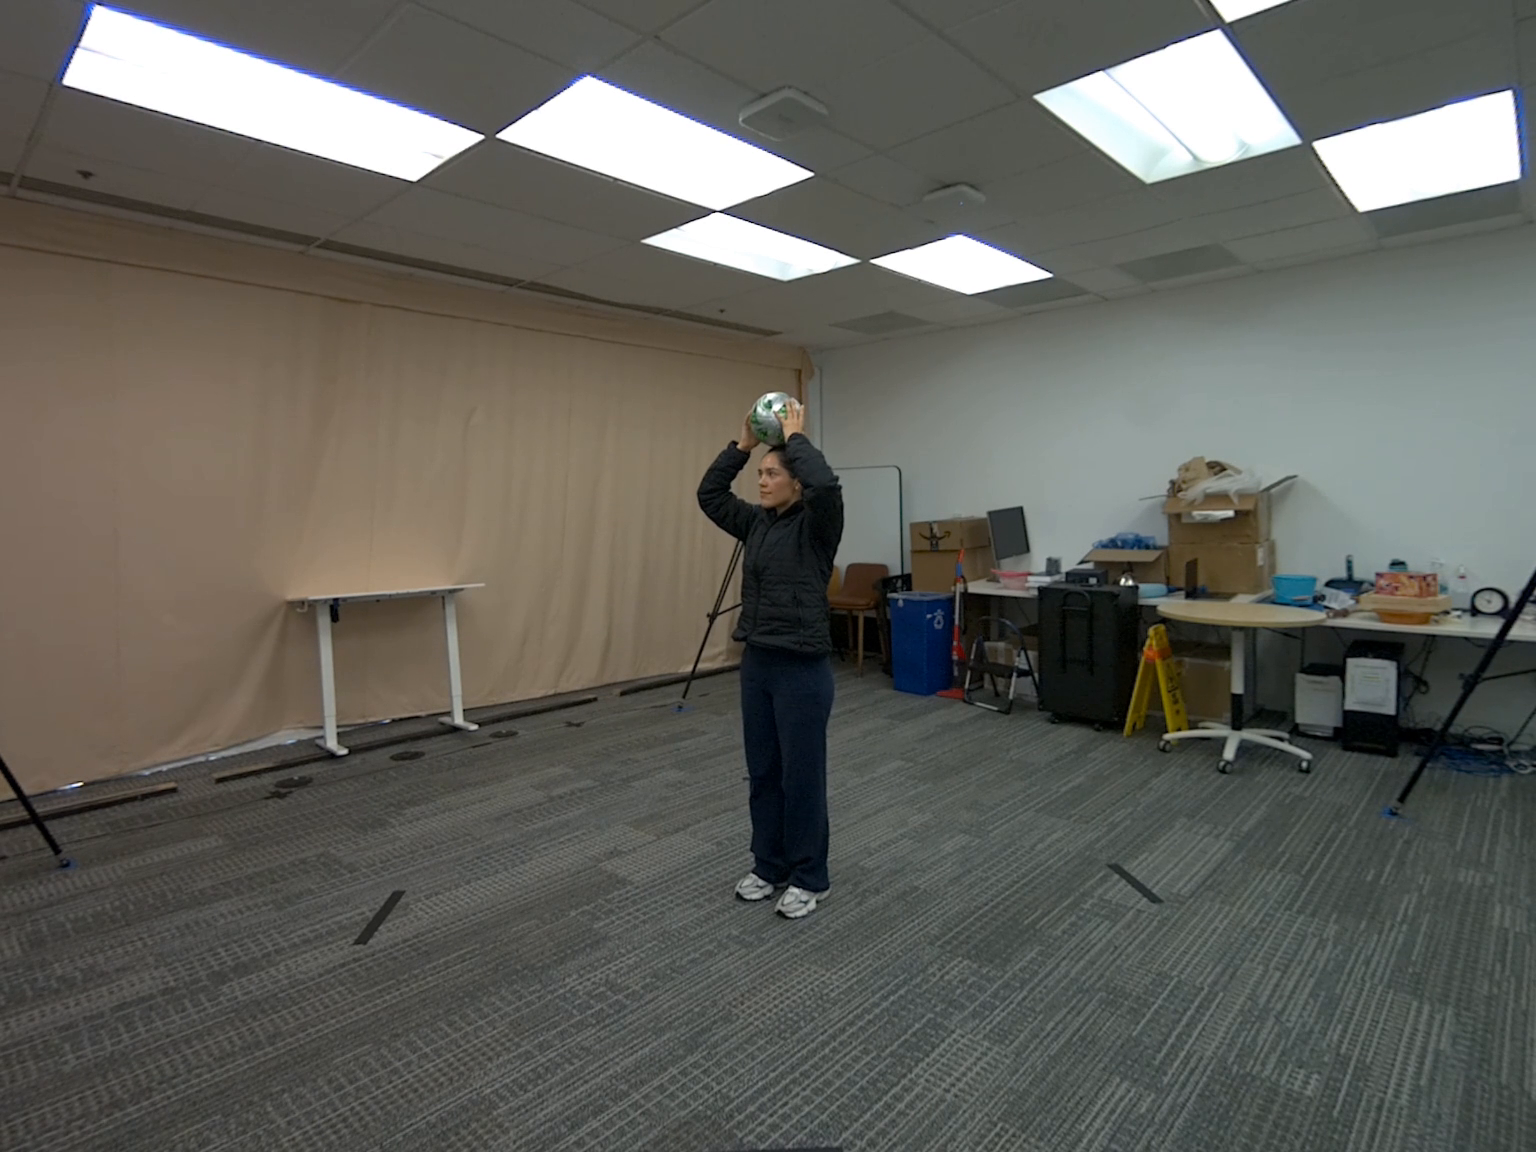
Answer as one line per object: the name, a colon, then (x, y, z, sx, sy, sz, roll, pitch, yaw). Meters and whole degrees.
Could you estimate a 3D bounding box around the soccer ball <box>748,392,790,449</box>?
soccer ball: (0.032, -0.533, 2.898, 0.187, 0.187, 0.188, -1, 4, -2)
